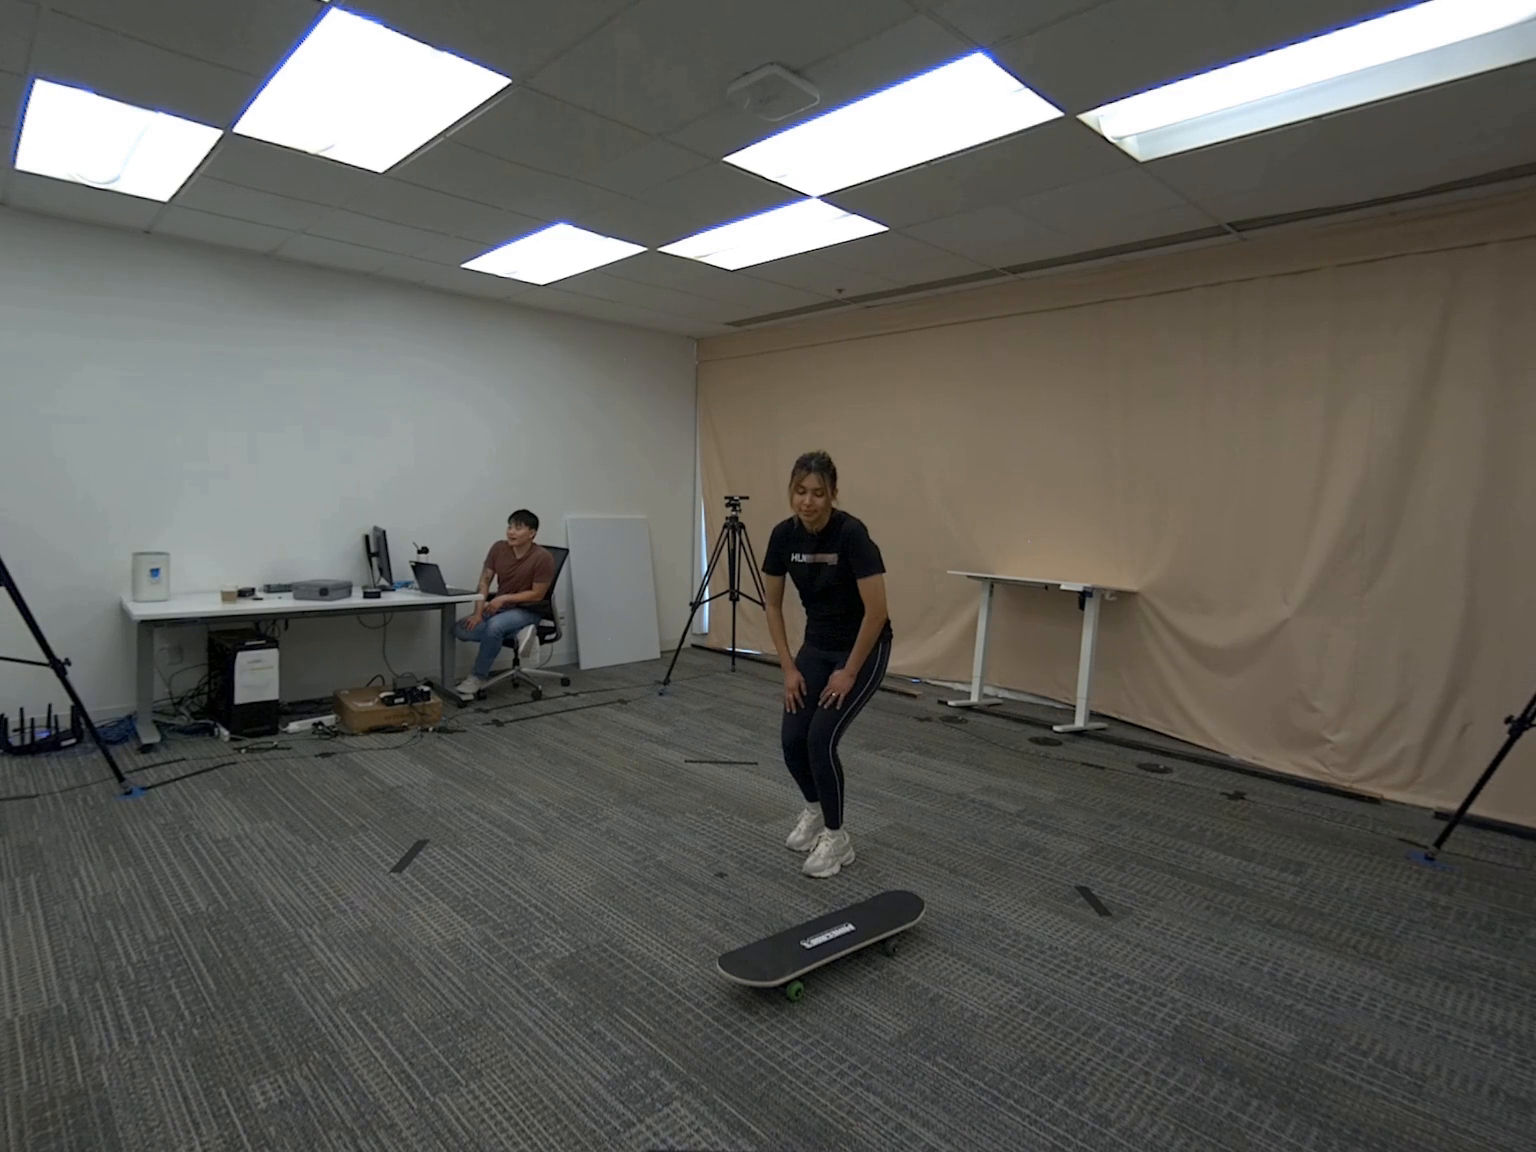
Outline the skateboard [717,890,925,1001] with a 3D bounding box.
[{"bbox_3d":[0.173,1.111,2.520,0.768,0.110,0.198,-3,7,-39],"label":"skateboard"}]
